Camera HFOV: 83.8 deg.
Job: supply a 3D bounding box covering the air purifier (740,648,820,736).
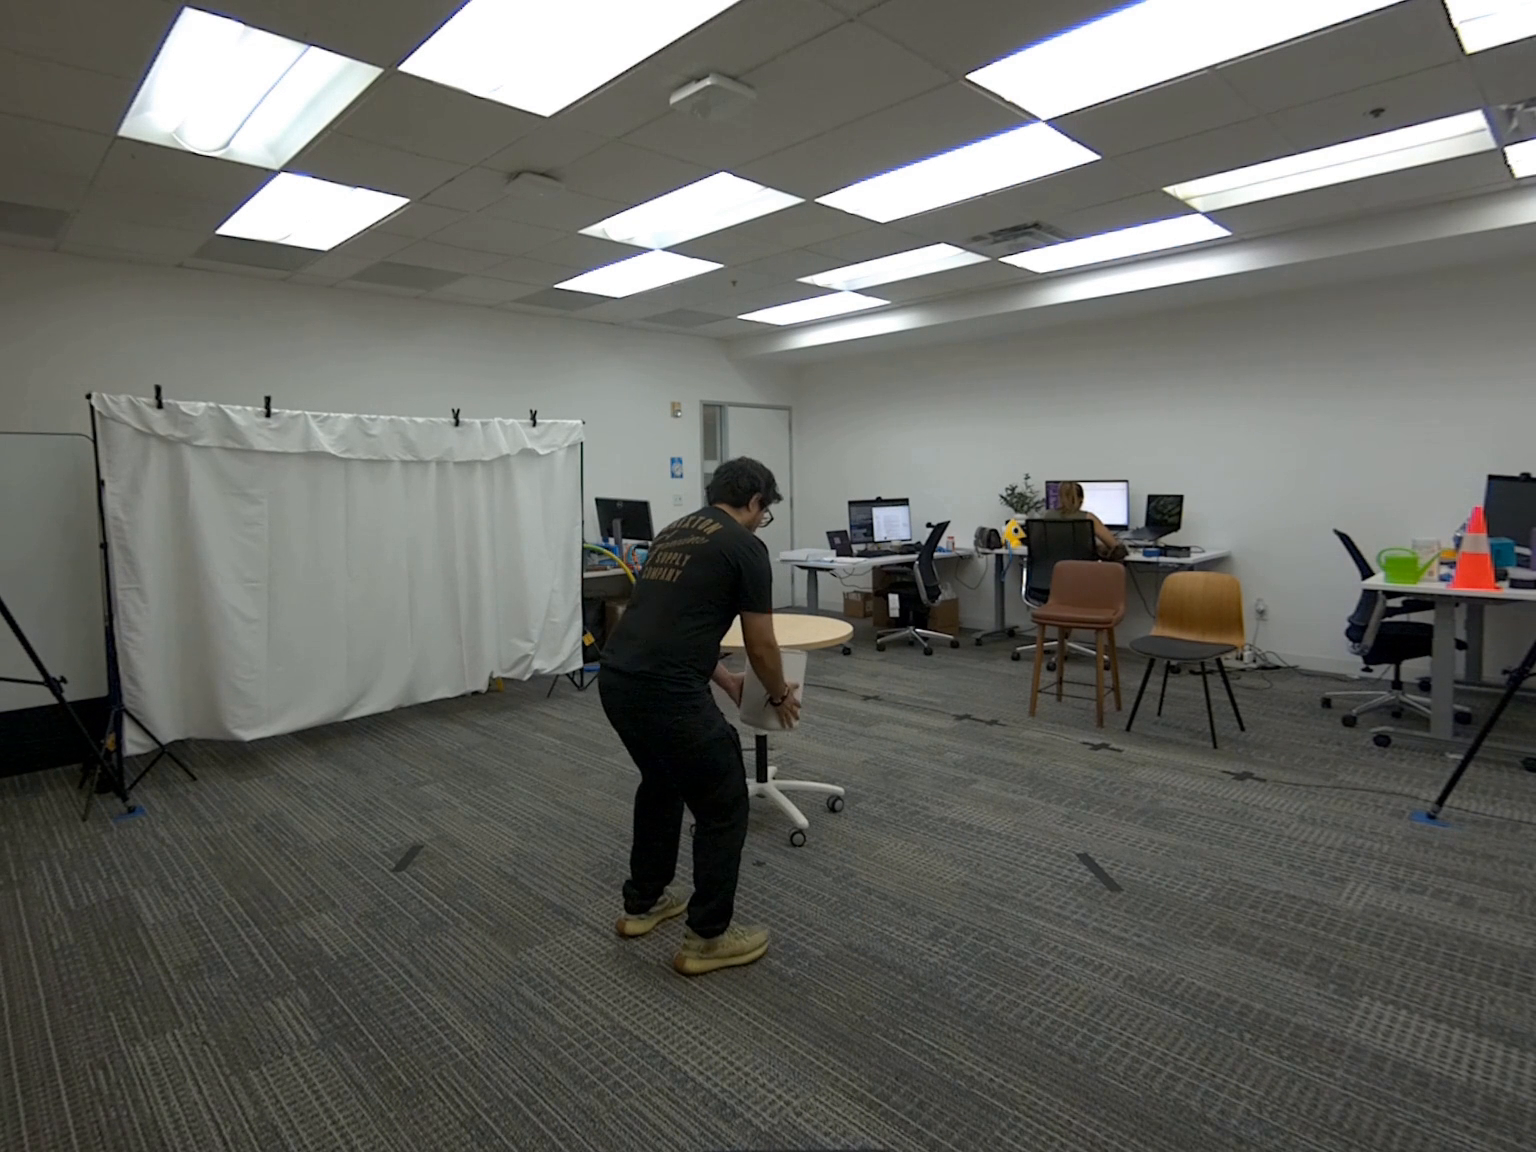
[{"bbox_3d":[0.038,0.379,2.858,0.177,0.266,0.165,2,-6,40],"label":"air purifier"}]
